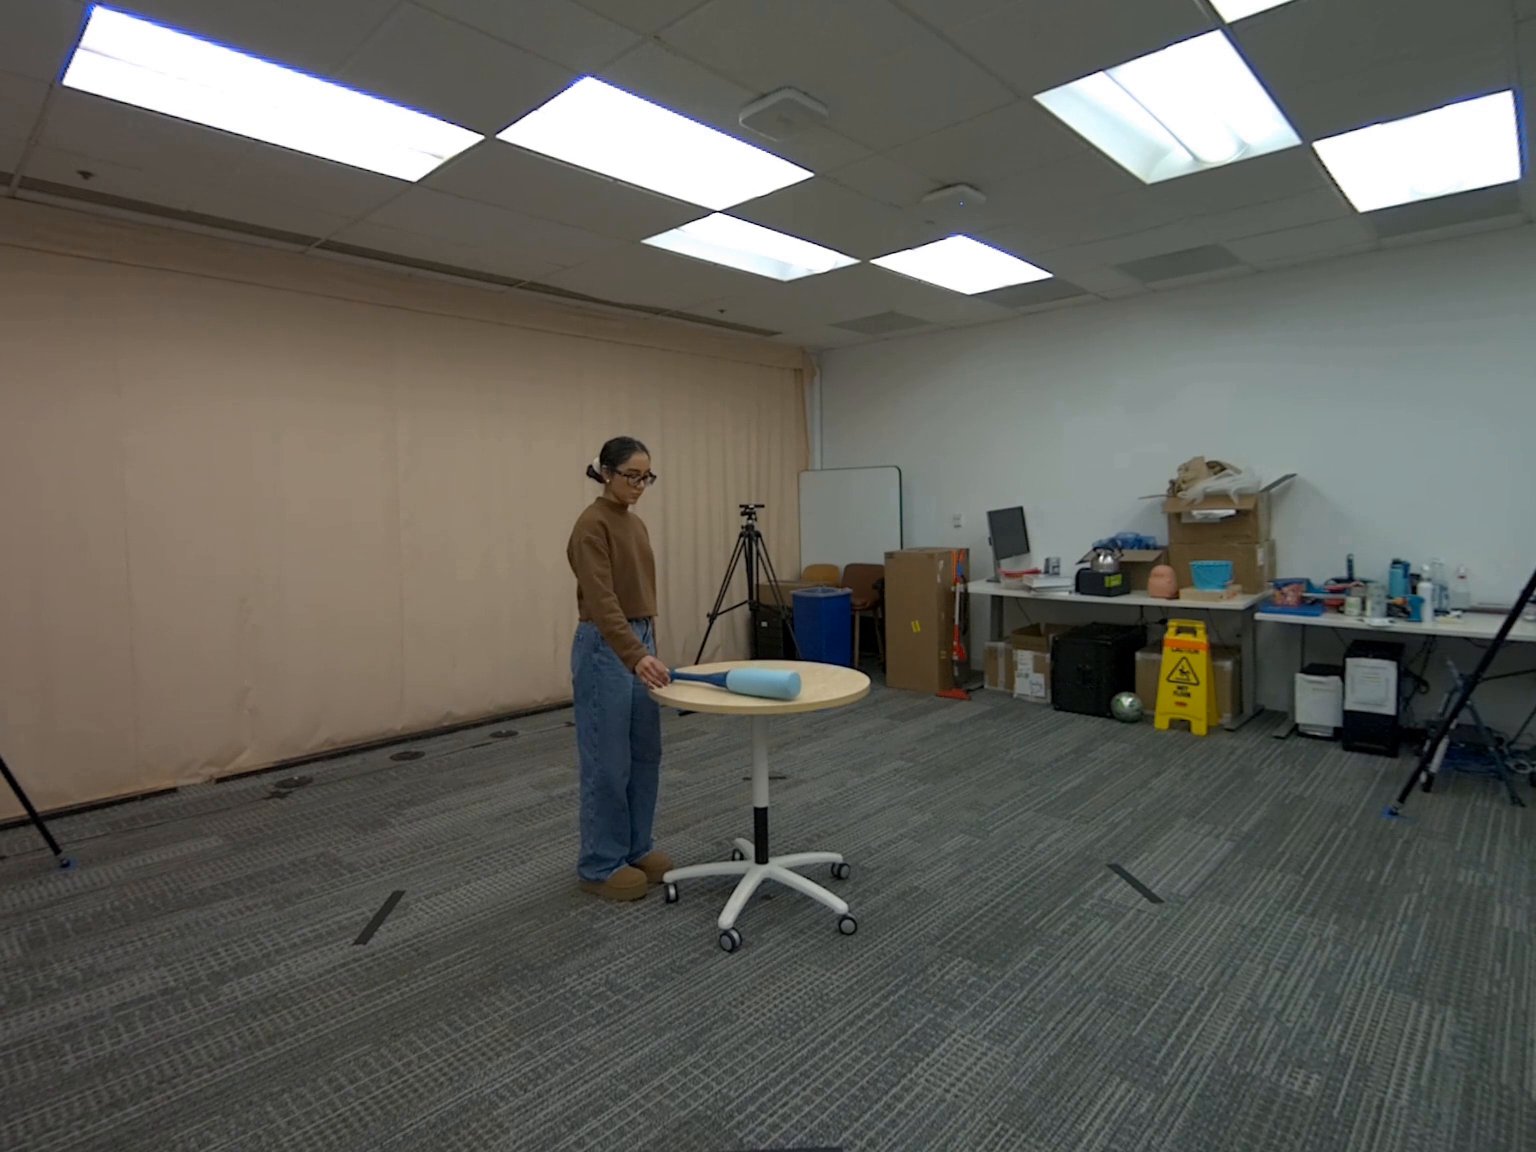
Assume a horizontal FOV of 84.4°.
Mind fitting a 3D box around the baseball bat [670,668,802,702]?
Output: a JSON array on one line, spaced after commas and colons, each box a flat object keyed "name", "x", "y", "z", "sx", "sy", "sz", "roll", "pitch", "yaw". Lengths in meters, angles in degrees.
[{"name": "baseball bat", "x": -0.130, "y": 0.344, "z": 2.744, "sx": 0.560, "sy": 0.089, "sz": 0.086, "roll": -1, "pitch": 3, "yaw": 37}]
